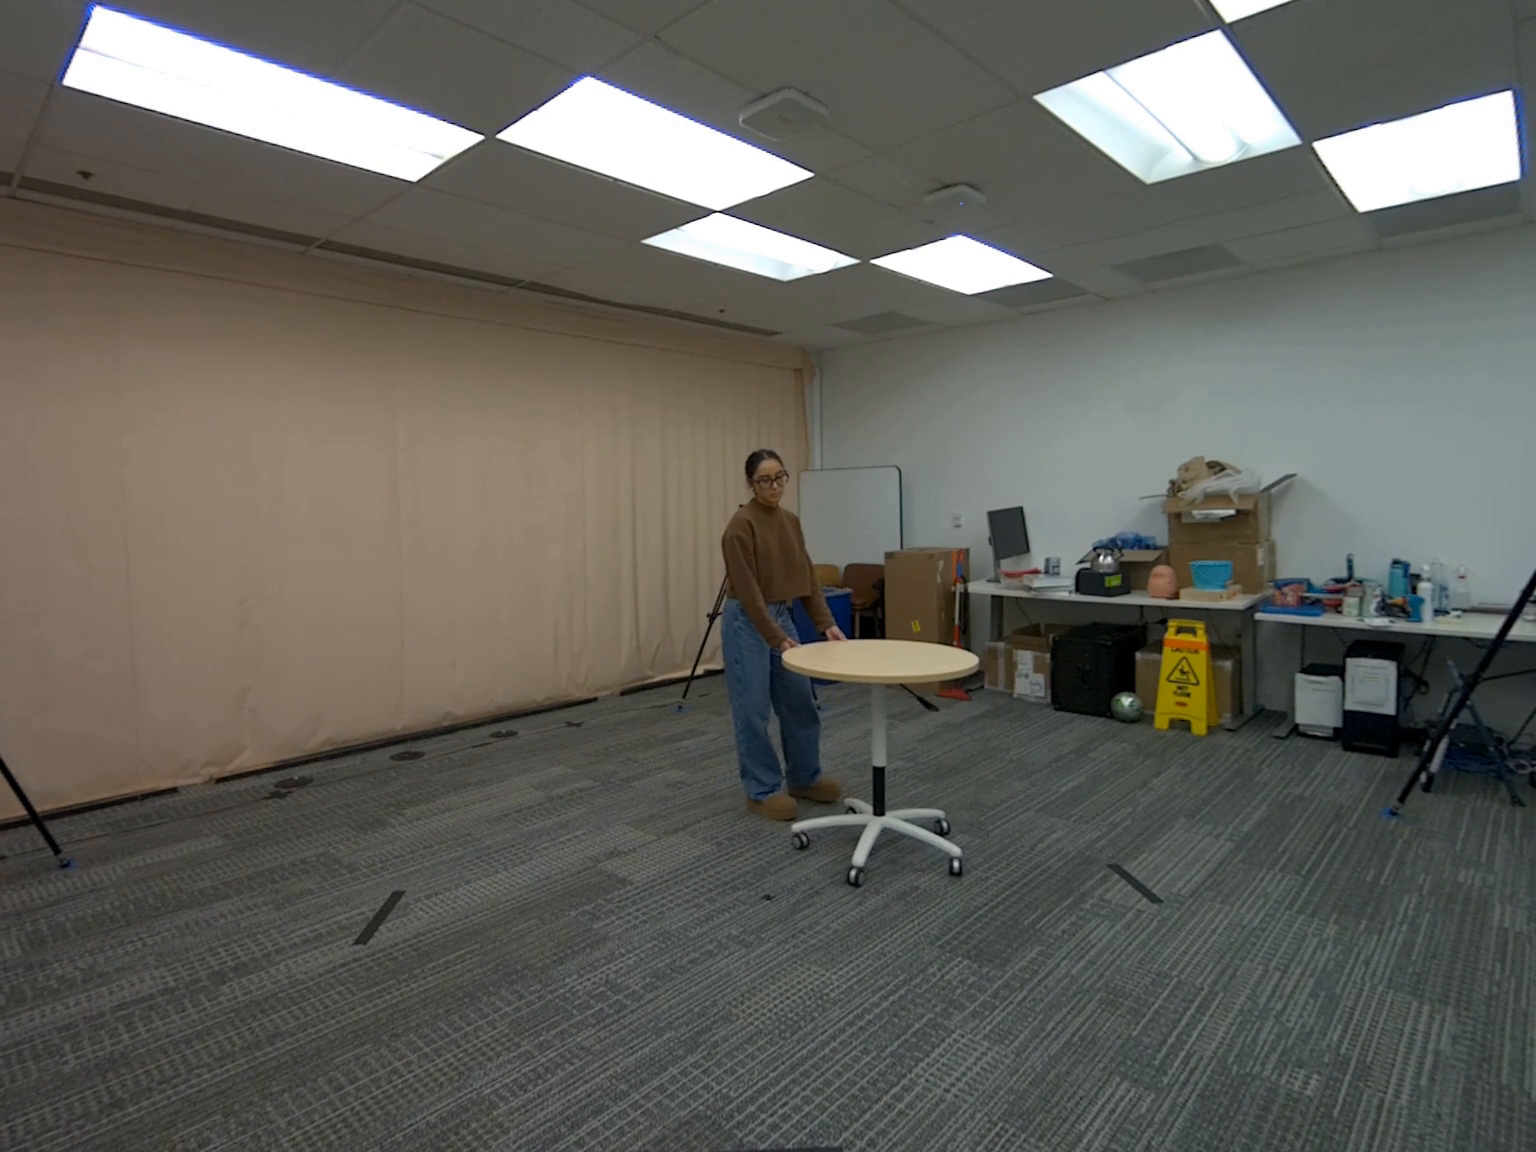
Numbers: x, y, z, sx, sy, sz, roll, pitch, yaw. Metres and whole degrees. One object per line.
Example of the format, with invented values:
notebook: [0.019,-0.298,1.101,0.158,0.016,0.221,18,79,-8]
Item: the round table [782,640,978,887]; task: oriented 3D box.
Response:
round table: [0.447,0.712,3.365,0.763,0.792,0.767,0,4,-2]
